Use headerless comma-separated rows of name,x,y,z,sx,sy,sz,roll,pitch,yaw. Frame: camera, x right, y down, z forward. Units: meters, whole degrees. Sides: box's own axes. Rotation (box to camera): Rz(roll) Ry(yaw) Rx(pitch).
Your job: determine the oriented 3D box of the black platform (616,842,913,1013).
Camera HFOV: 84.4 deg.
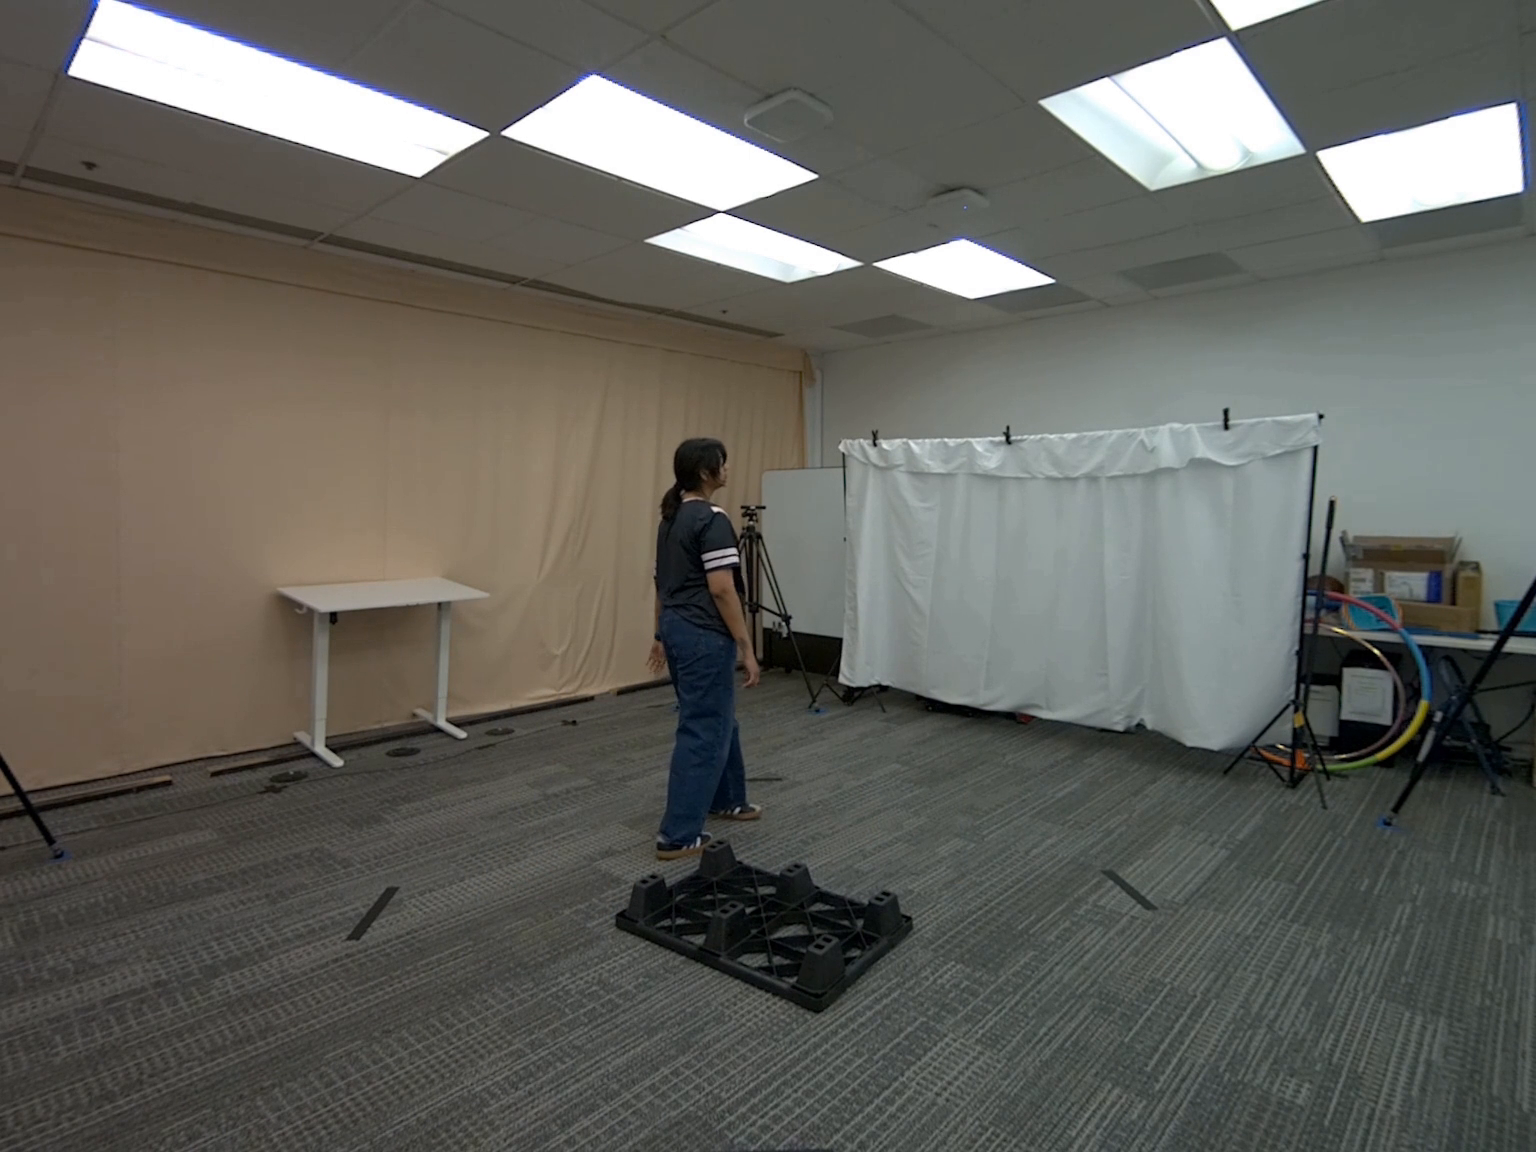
black platform,-0.017,1.096,2.773,0.831,0.143,0.587,3,5,36
